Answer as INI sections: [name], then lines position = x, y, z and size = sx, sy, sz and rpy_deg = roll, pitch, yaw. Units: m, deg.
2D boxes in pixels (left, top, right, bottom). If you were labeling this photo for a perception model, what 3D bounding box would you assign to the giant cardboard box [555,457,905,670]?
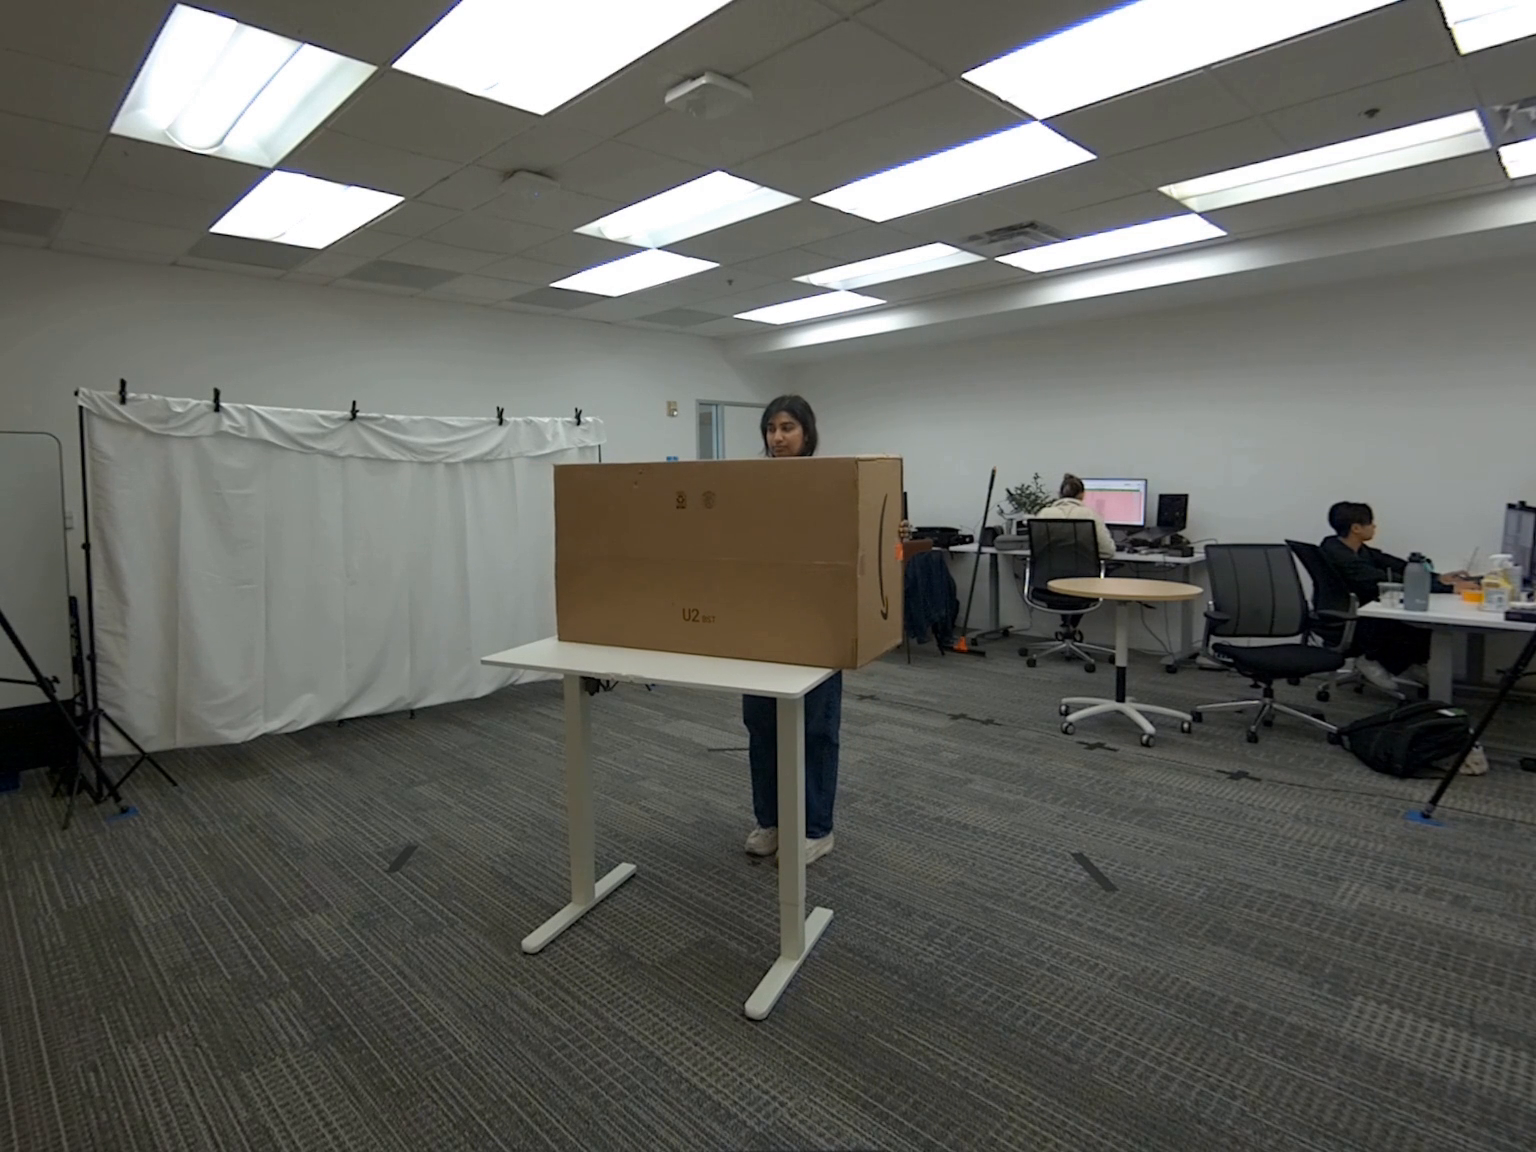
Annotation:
[giant cardboard box]
position = -0.142, -0.072, 2.679
size = 1.051, 0.575, 0.417
rpy_deg = 2, 5, 28
